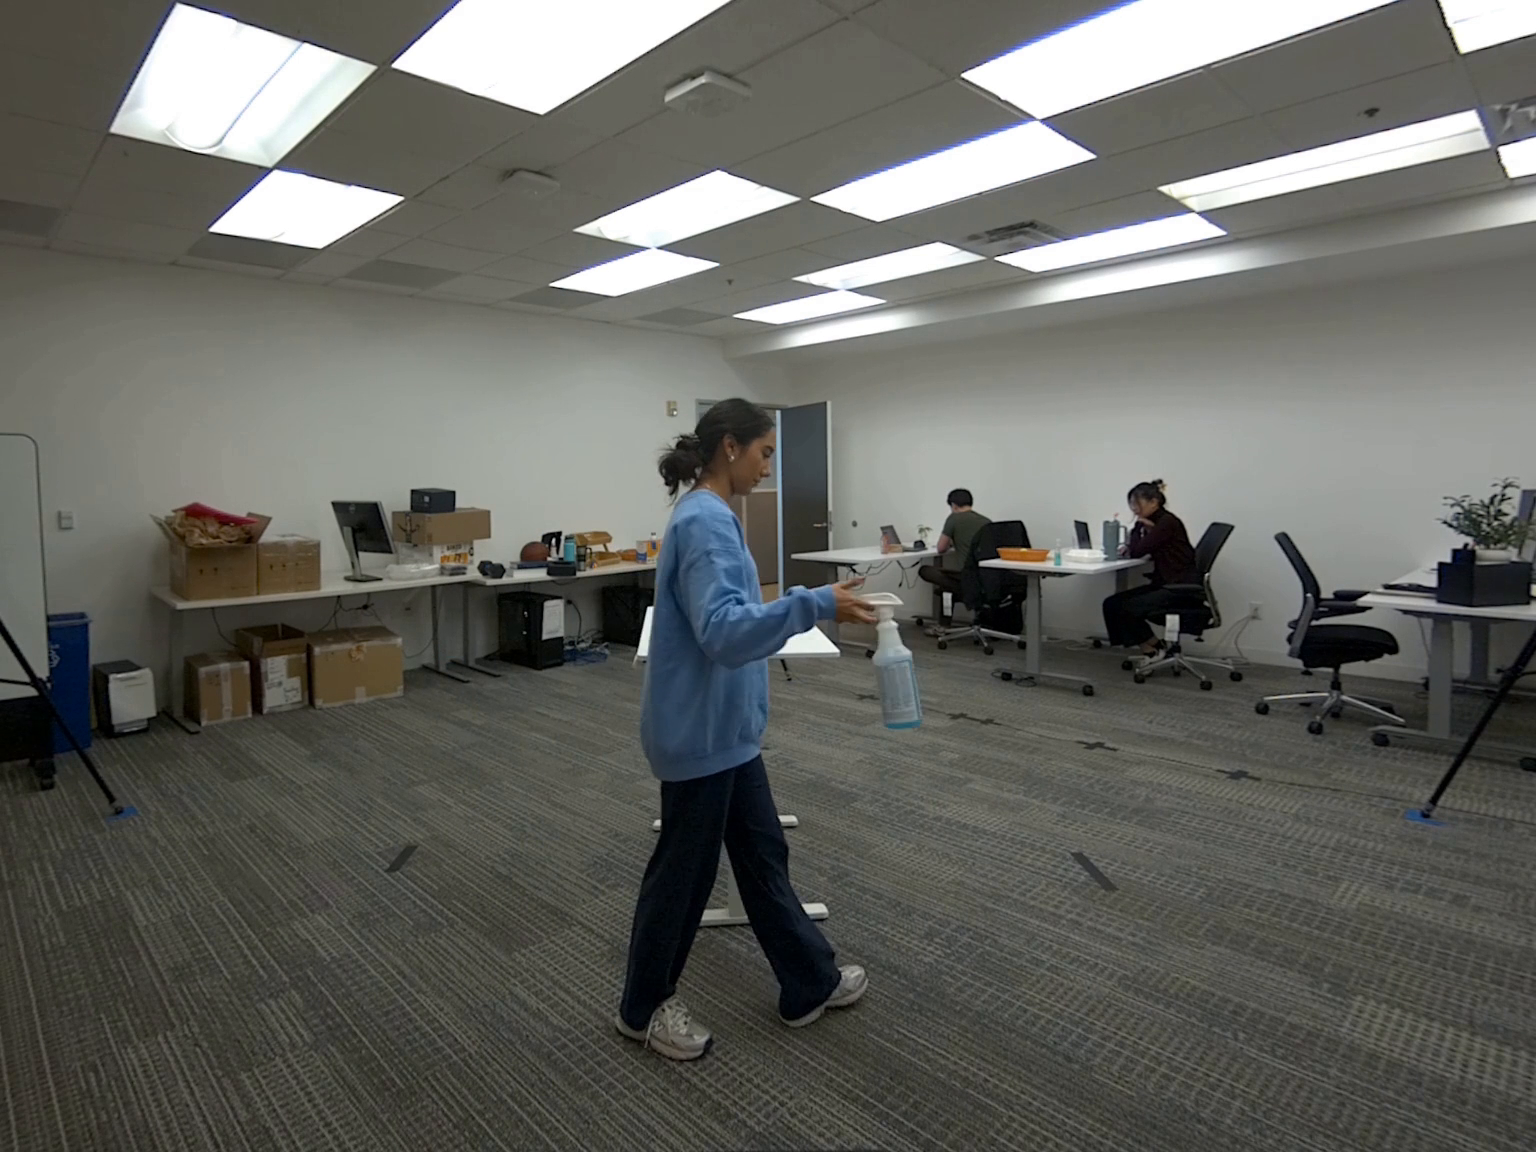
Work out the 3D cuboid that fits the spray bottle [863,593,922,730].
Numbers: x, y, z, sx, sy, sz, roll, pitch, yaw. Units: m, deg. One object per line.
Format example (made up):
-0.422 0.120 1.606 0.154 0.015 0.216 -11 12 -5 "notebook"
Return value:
0.266 0.185 1.900 0.092 0.298 0.085 -13 -4 38 "spray bottle"
